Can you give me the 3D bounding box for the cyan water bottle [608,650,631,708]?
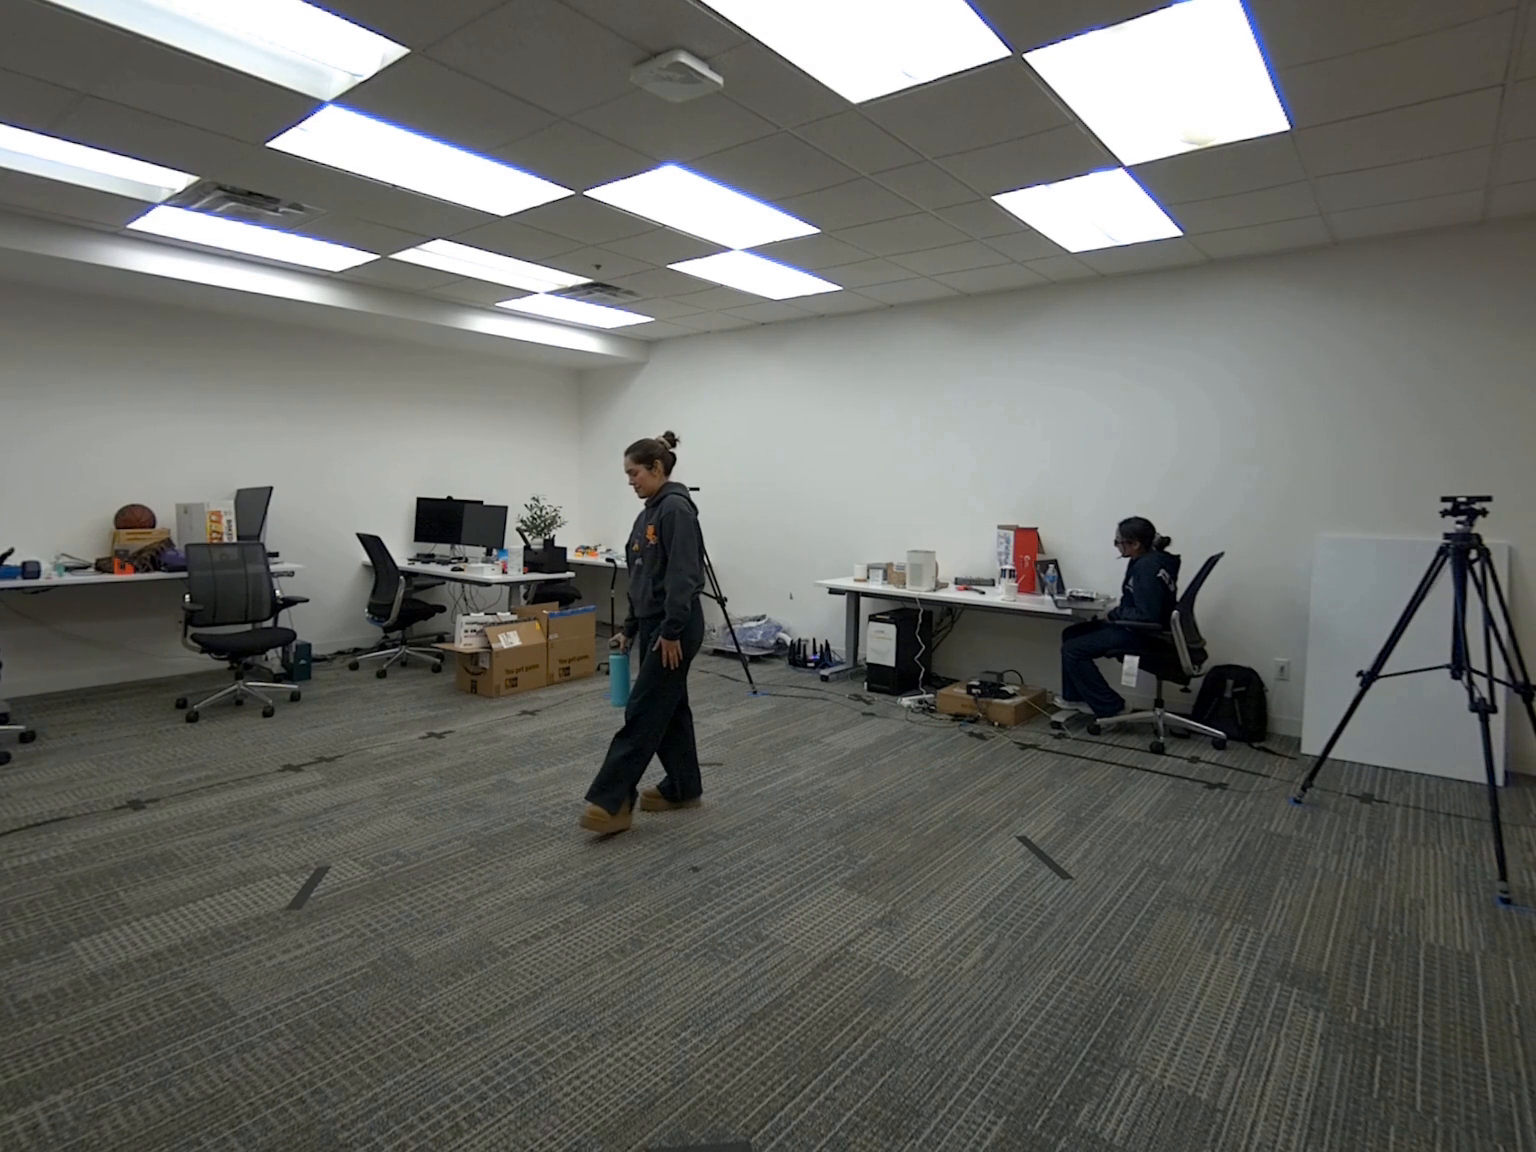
[{"bbox_3d":[-0.659,0.430,3.777,0.092,0.283,0.092,-3,1,-2],"label":"cyan water bottle"}]
